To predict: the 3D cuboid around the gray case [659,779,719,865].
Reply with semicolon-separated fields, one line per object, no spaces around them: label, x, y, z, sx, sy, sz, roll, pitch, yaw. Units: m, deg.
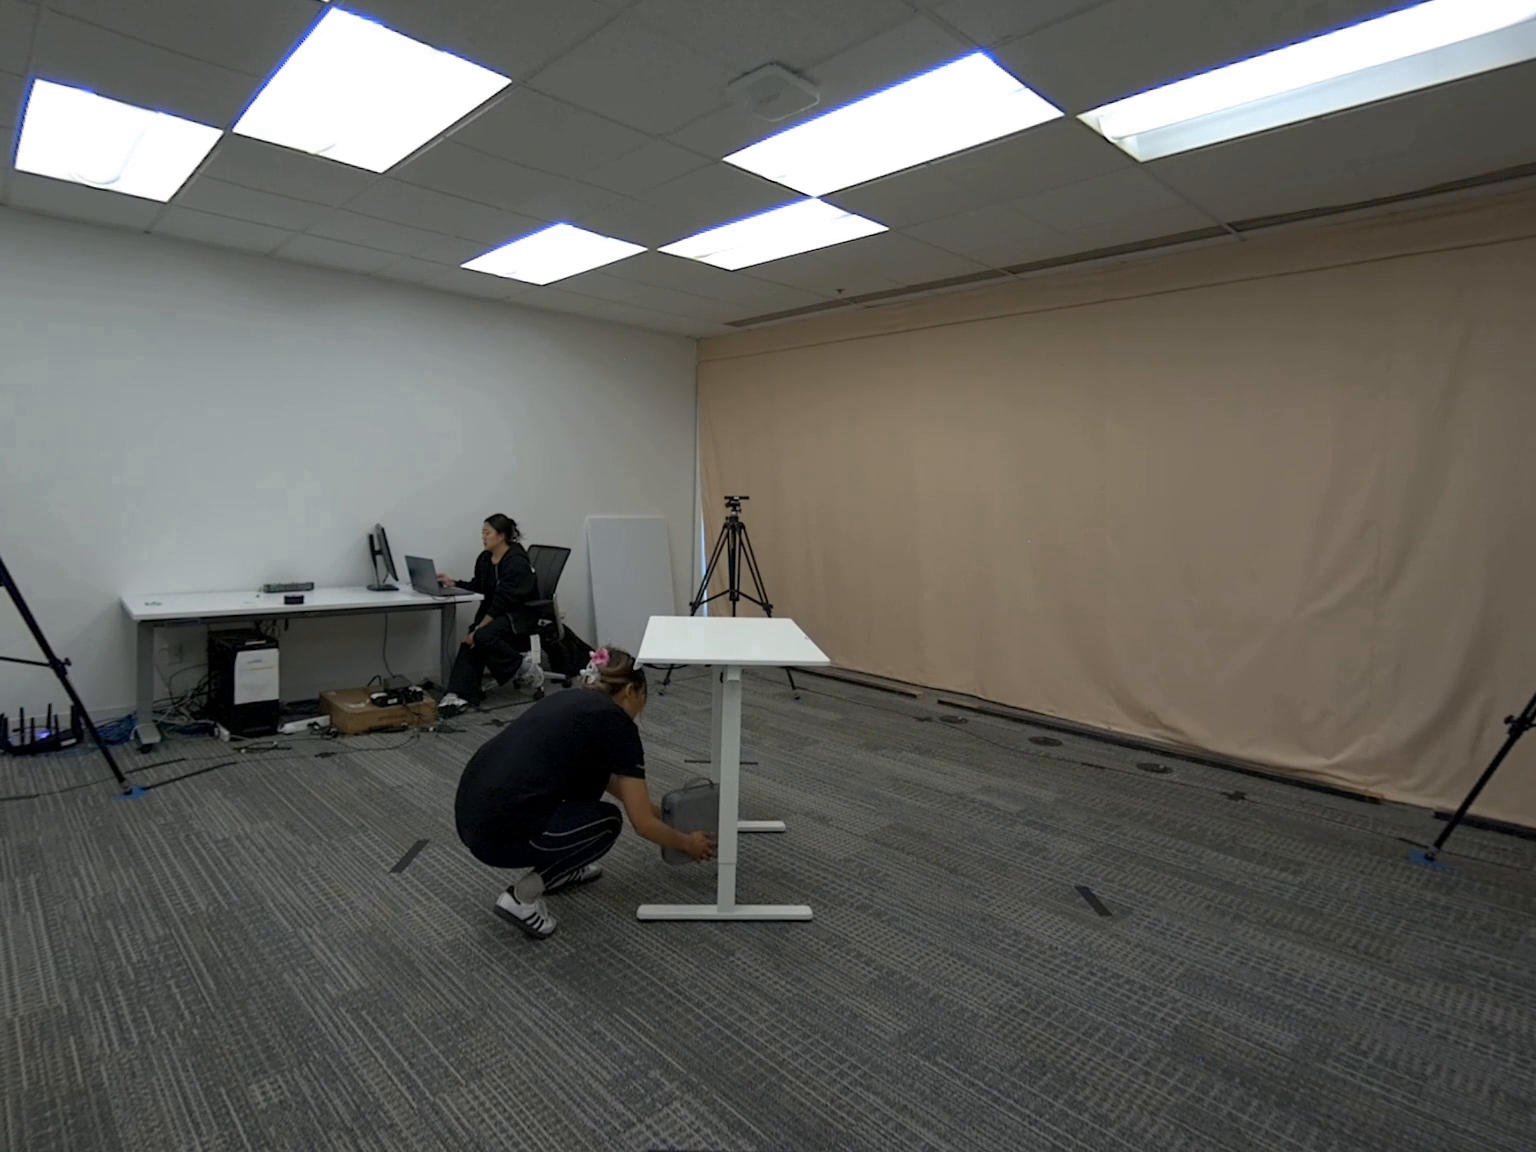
gray case;-0.272;0.894;3.072;0.252;0.259;0.107;-3;9;-31
